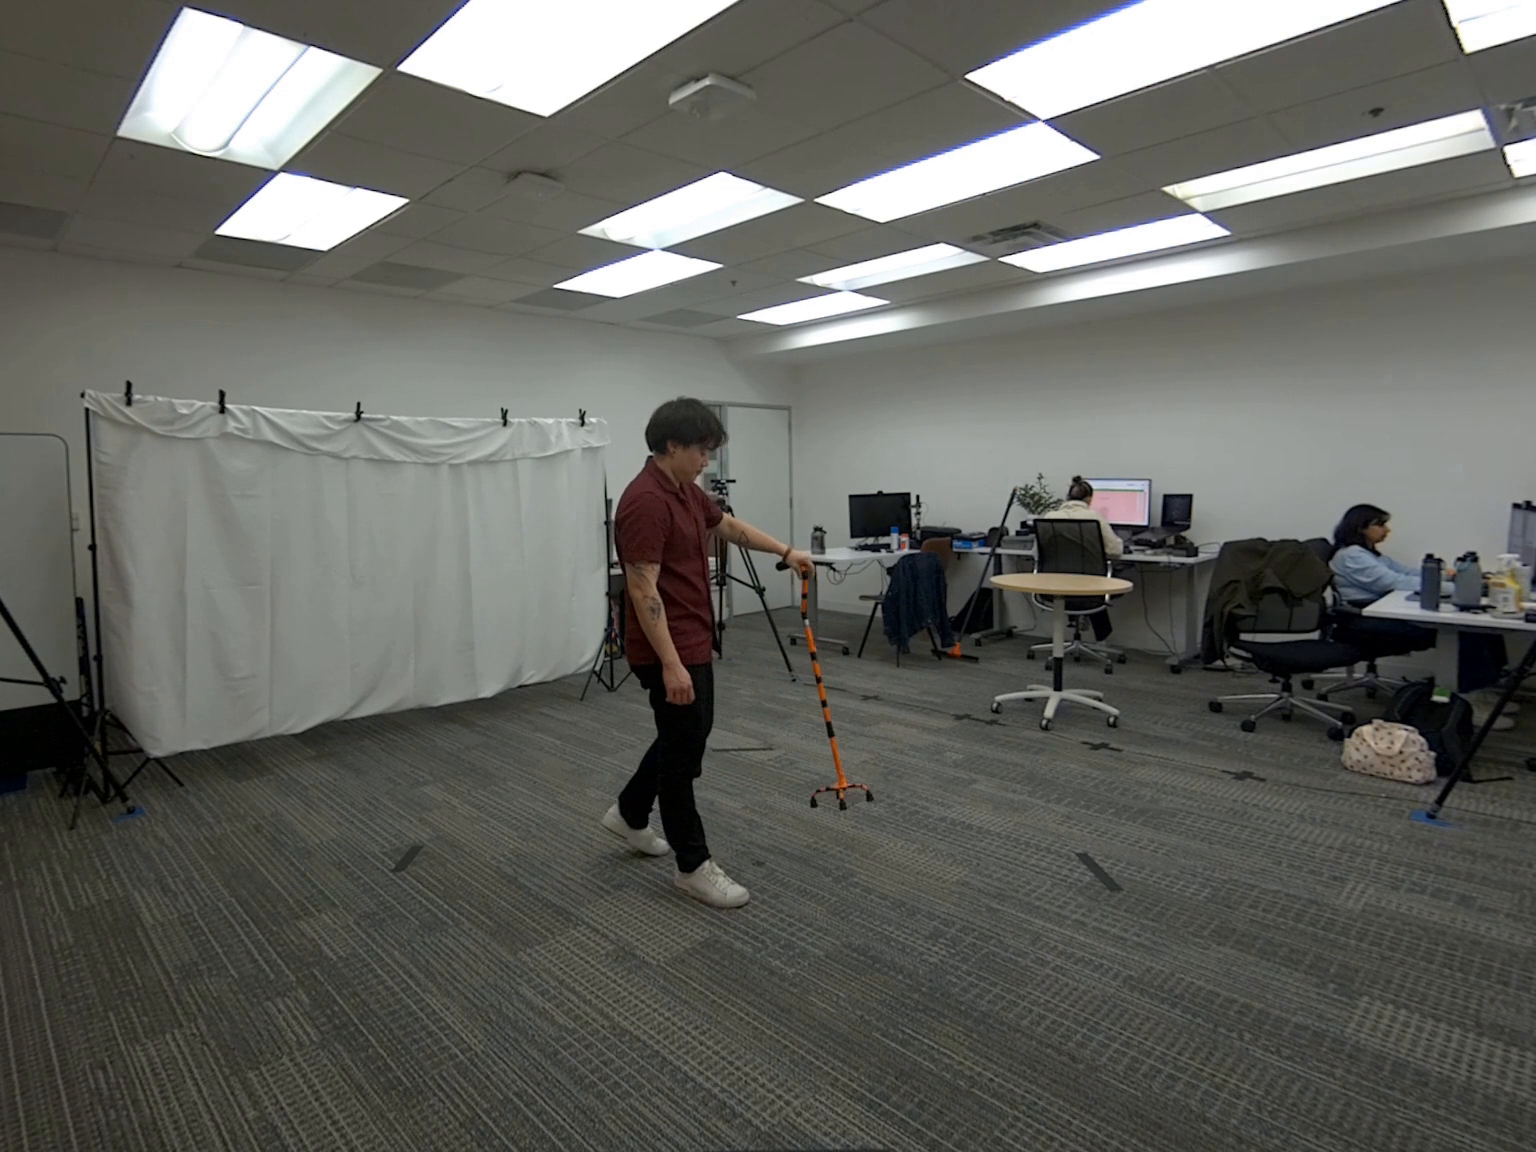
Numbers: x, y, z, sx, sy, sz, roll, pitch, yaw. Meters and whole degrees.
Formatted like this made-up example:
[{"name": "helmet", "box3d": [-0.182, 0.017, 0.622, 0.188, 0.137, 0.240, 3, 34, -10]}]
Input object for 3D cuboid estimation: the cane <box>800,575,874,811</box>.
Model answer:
[{"name": "cane", "box3d": [0.179, 0.388, 3.155, 0.149, 0.915, 0.208, -8, -7, -22]}]
